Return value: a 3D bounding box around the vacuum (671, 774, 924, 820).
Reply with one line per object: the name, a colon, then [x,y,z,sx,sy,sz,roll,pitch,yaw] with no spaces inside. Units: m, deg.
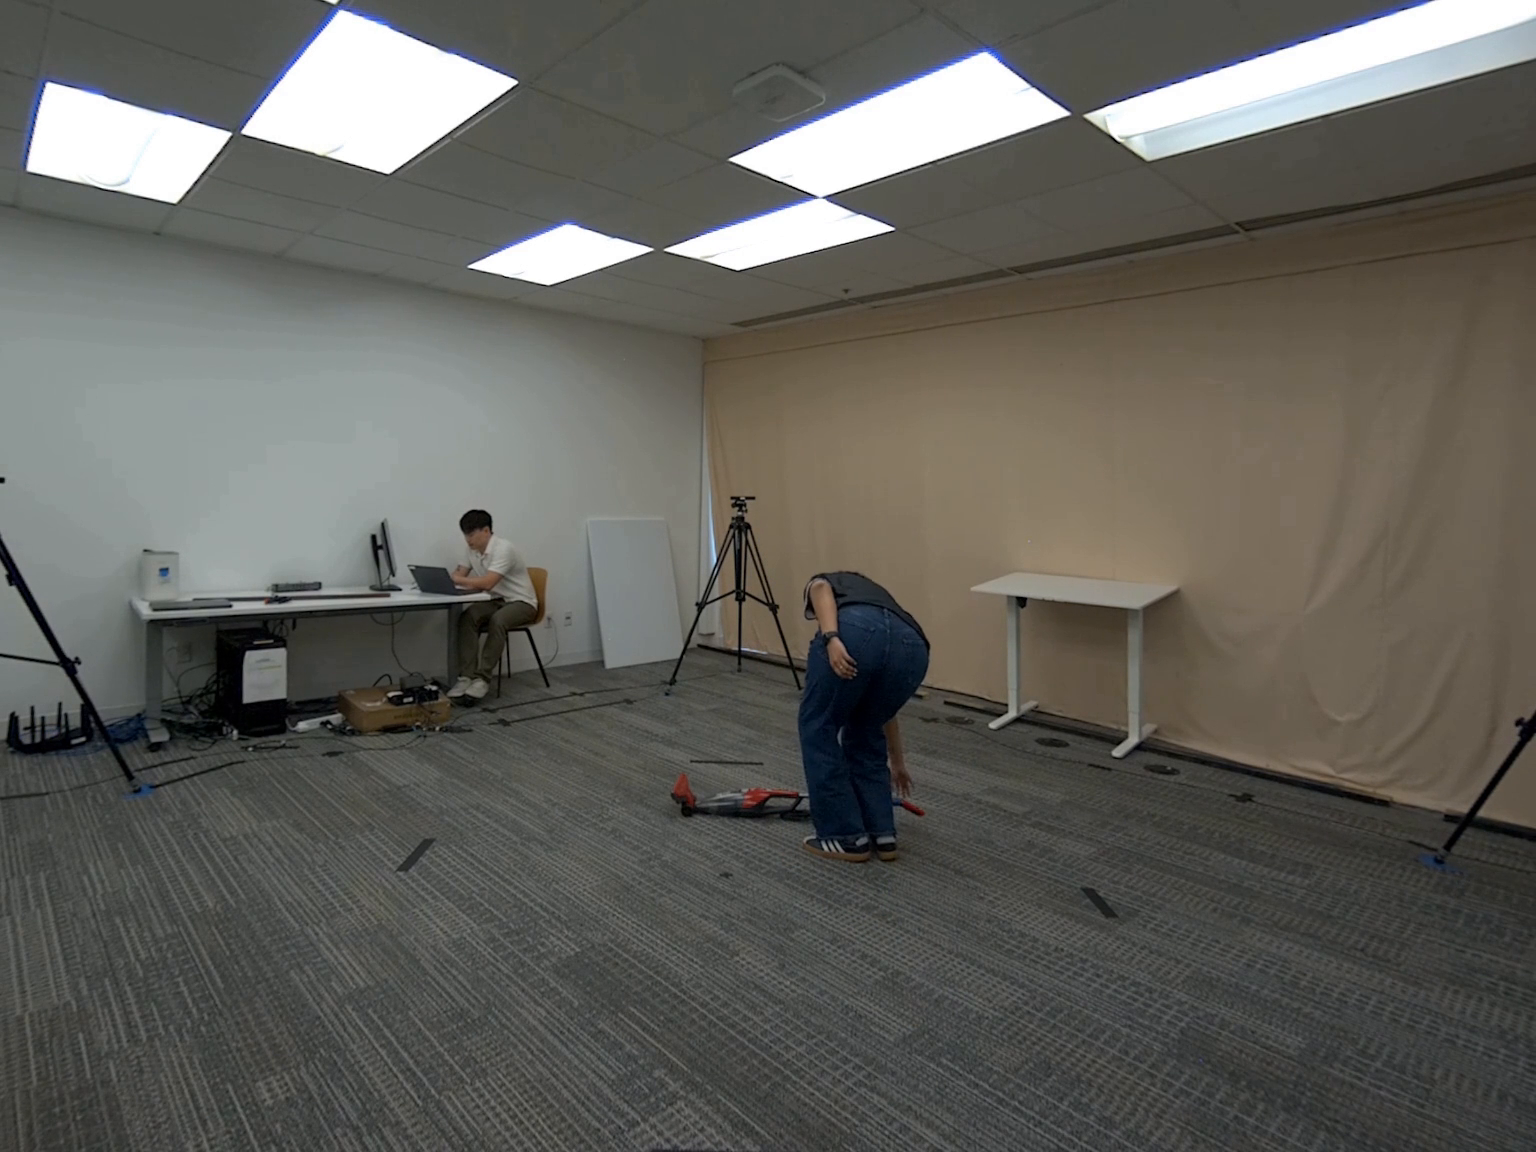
vacuum: [0.140,0.991,3.662,1.054,0.143,0.252,2,5,6]
